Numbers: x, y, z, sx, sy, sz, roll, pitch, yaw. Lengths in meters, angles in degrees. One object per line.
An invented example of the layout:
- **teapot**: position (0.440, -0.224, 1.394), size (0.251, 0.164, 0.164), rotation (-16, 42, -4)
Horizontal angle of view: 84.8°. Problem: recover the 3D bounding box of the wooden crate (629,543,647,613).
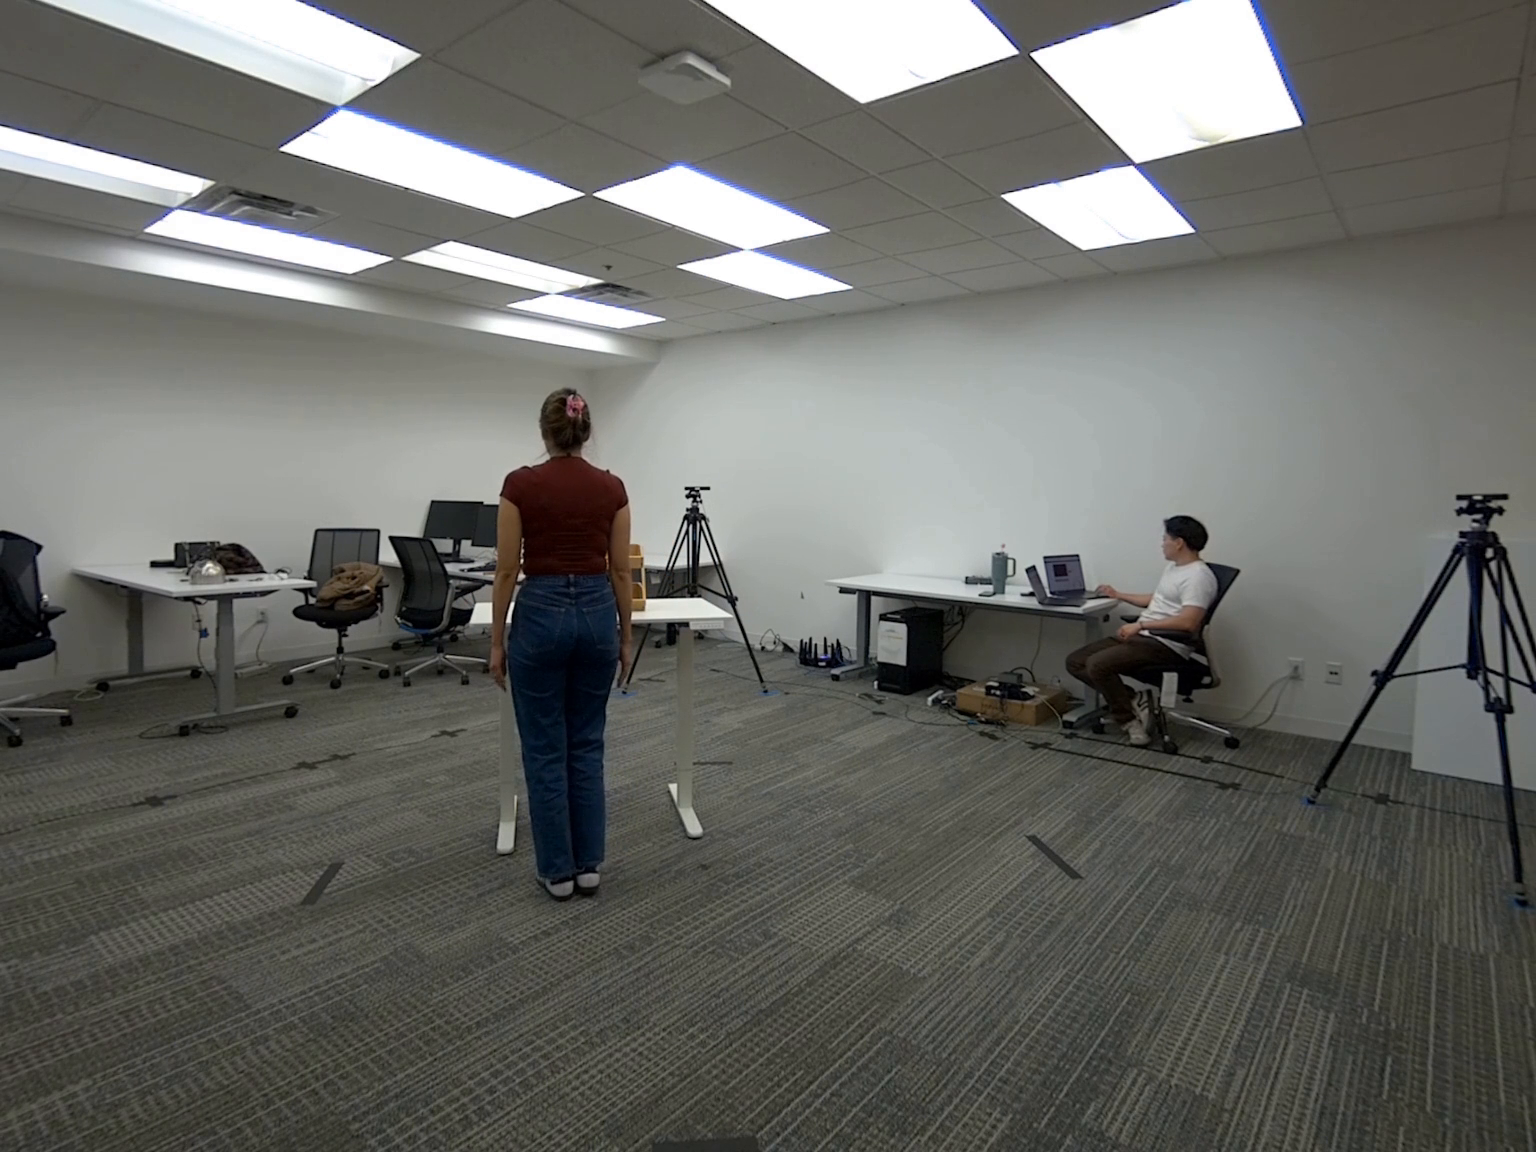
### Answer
- **wooden crate**: position (-0.688, -0.001, 3.584), size (0.320, 0.272, 0.307), rotation (0, 4, -12)
